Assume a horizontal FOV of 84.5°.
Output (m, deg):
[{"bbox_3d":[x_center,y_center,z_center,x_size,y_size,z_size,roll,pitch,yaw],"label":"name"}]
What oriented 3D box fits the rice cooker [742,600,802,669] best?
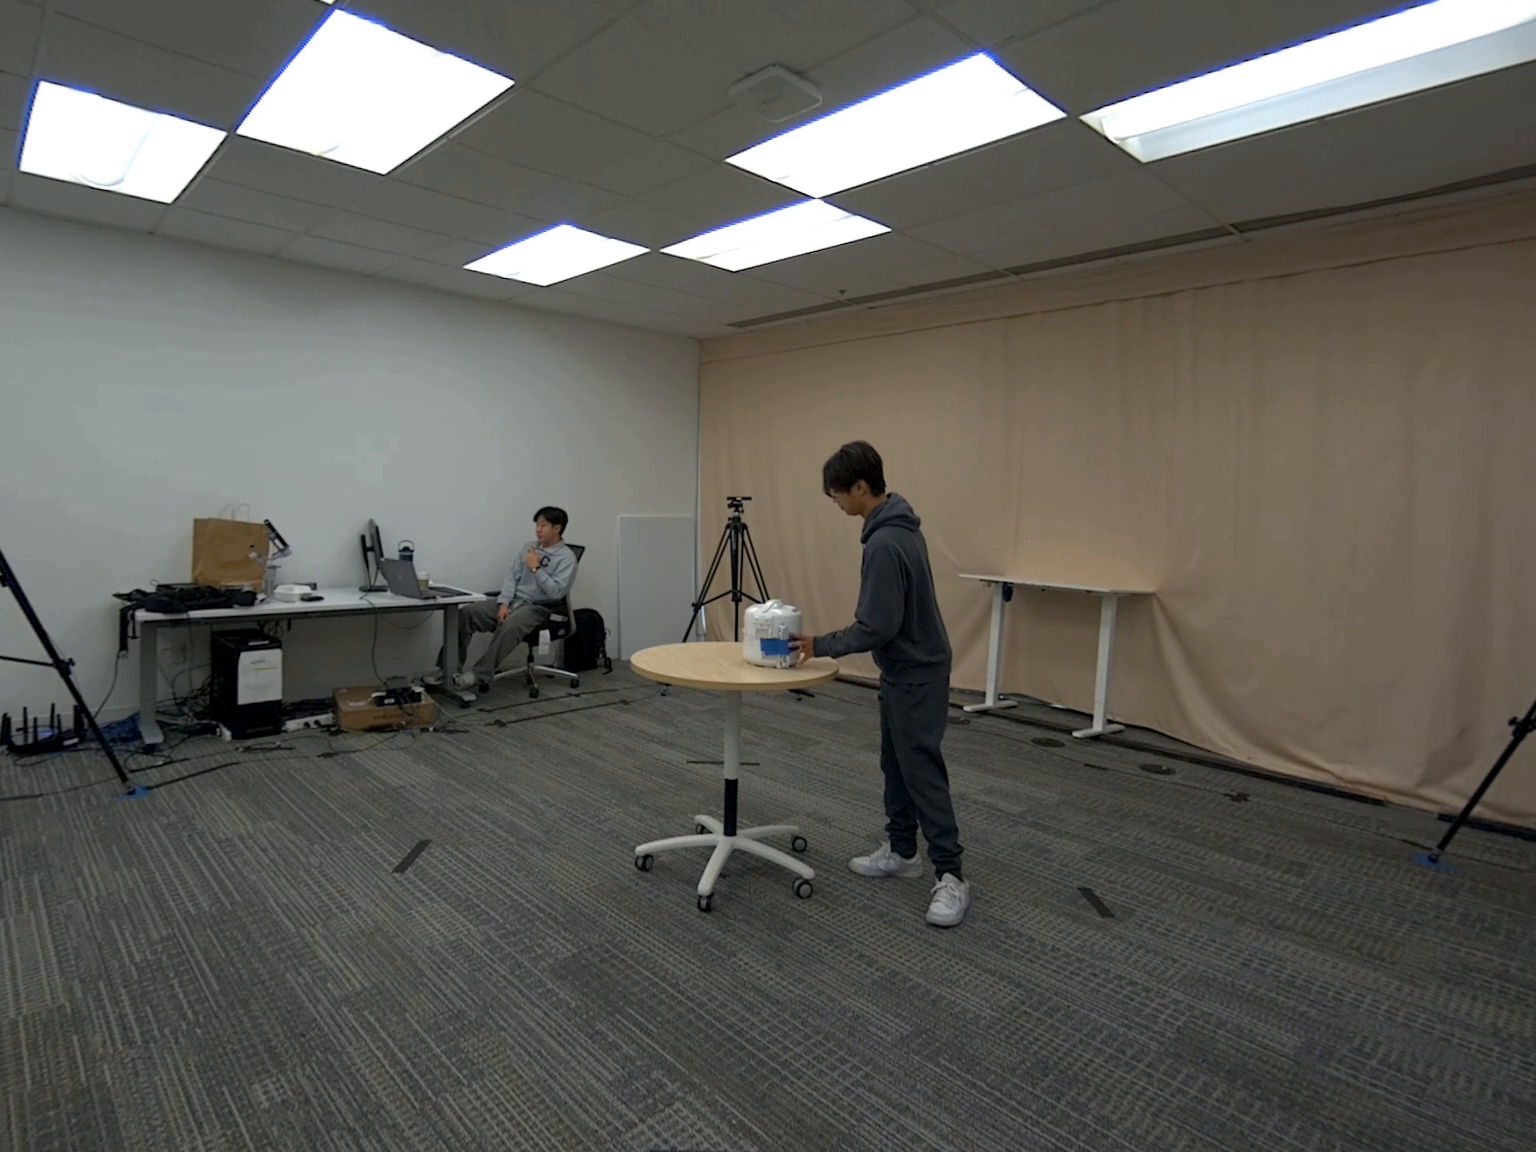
[{"bbox_3d":[0.012,0.202,3.053,0.222,0.232,0.217,5,5,24],"label":"rice cooker"}]
